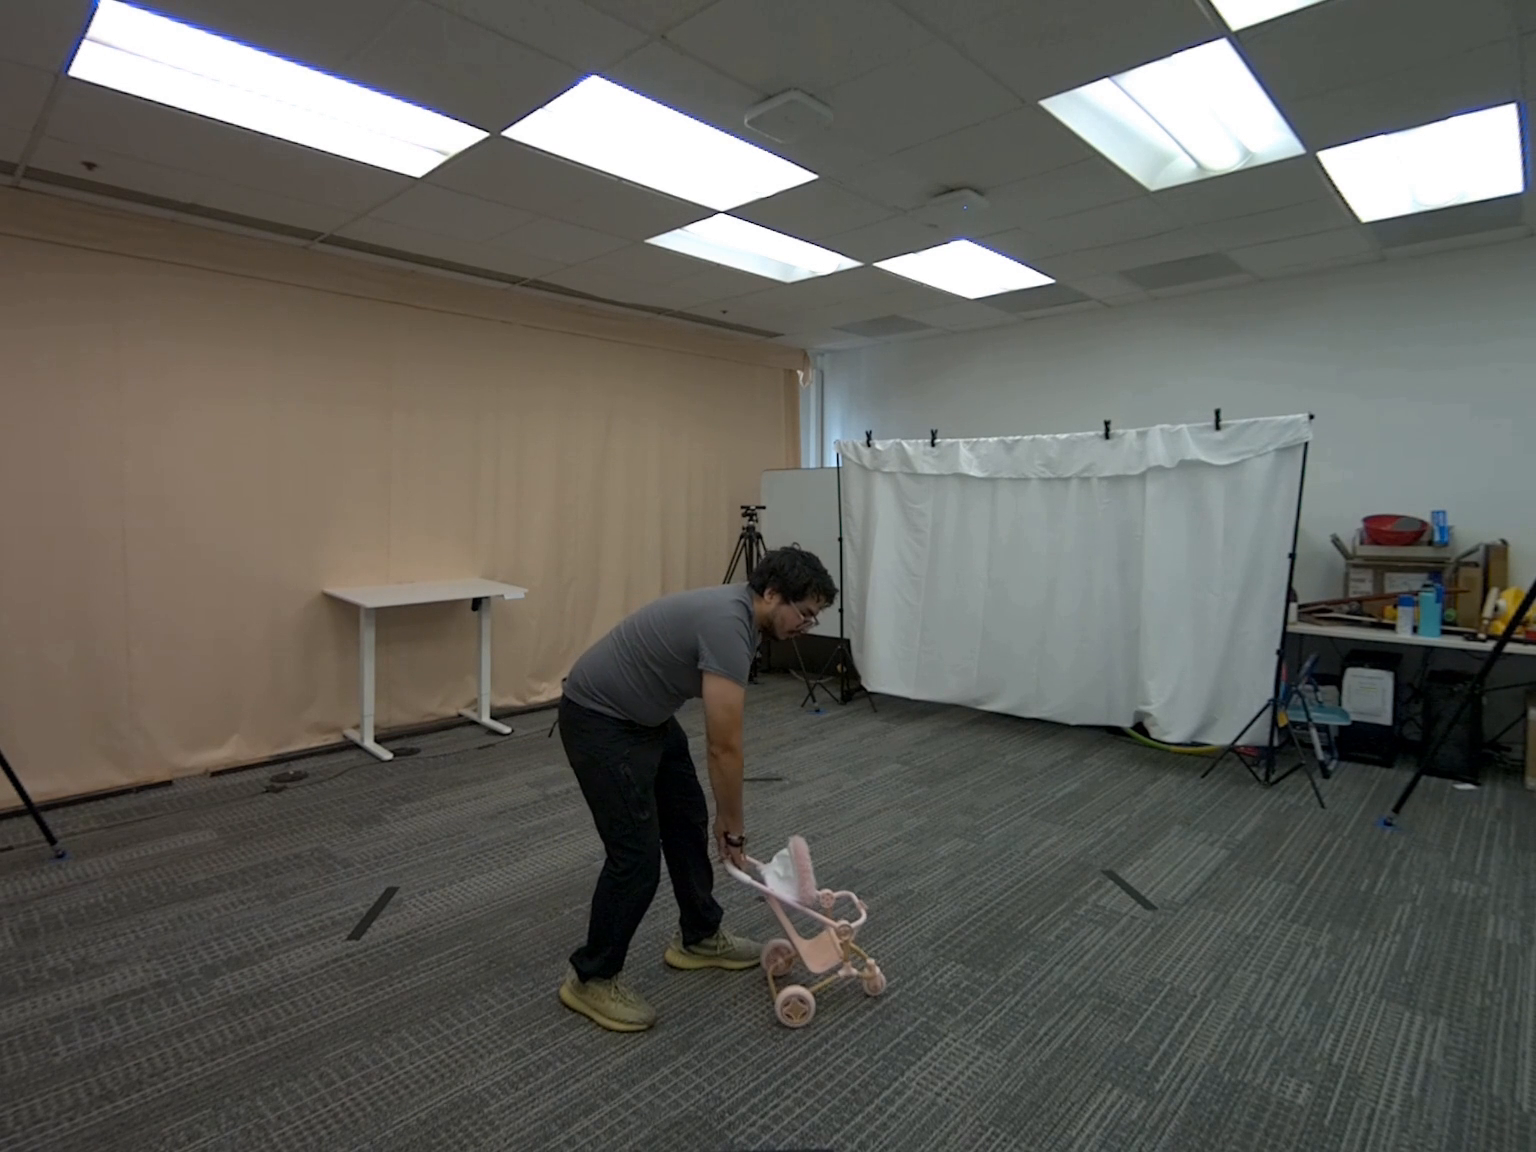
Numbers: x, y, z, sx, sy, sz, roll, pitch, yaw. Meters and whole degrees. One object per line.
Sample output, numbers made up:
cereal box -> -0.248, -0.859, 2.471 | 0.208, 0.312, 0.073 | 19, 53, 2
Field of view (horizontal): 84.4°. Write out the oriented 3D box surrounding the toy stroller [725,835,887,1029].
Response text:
toy stroller -> 0.114, 0.971, 2.367 | 0.341, 0.533, 0.283 | -17, 4, -3
